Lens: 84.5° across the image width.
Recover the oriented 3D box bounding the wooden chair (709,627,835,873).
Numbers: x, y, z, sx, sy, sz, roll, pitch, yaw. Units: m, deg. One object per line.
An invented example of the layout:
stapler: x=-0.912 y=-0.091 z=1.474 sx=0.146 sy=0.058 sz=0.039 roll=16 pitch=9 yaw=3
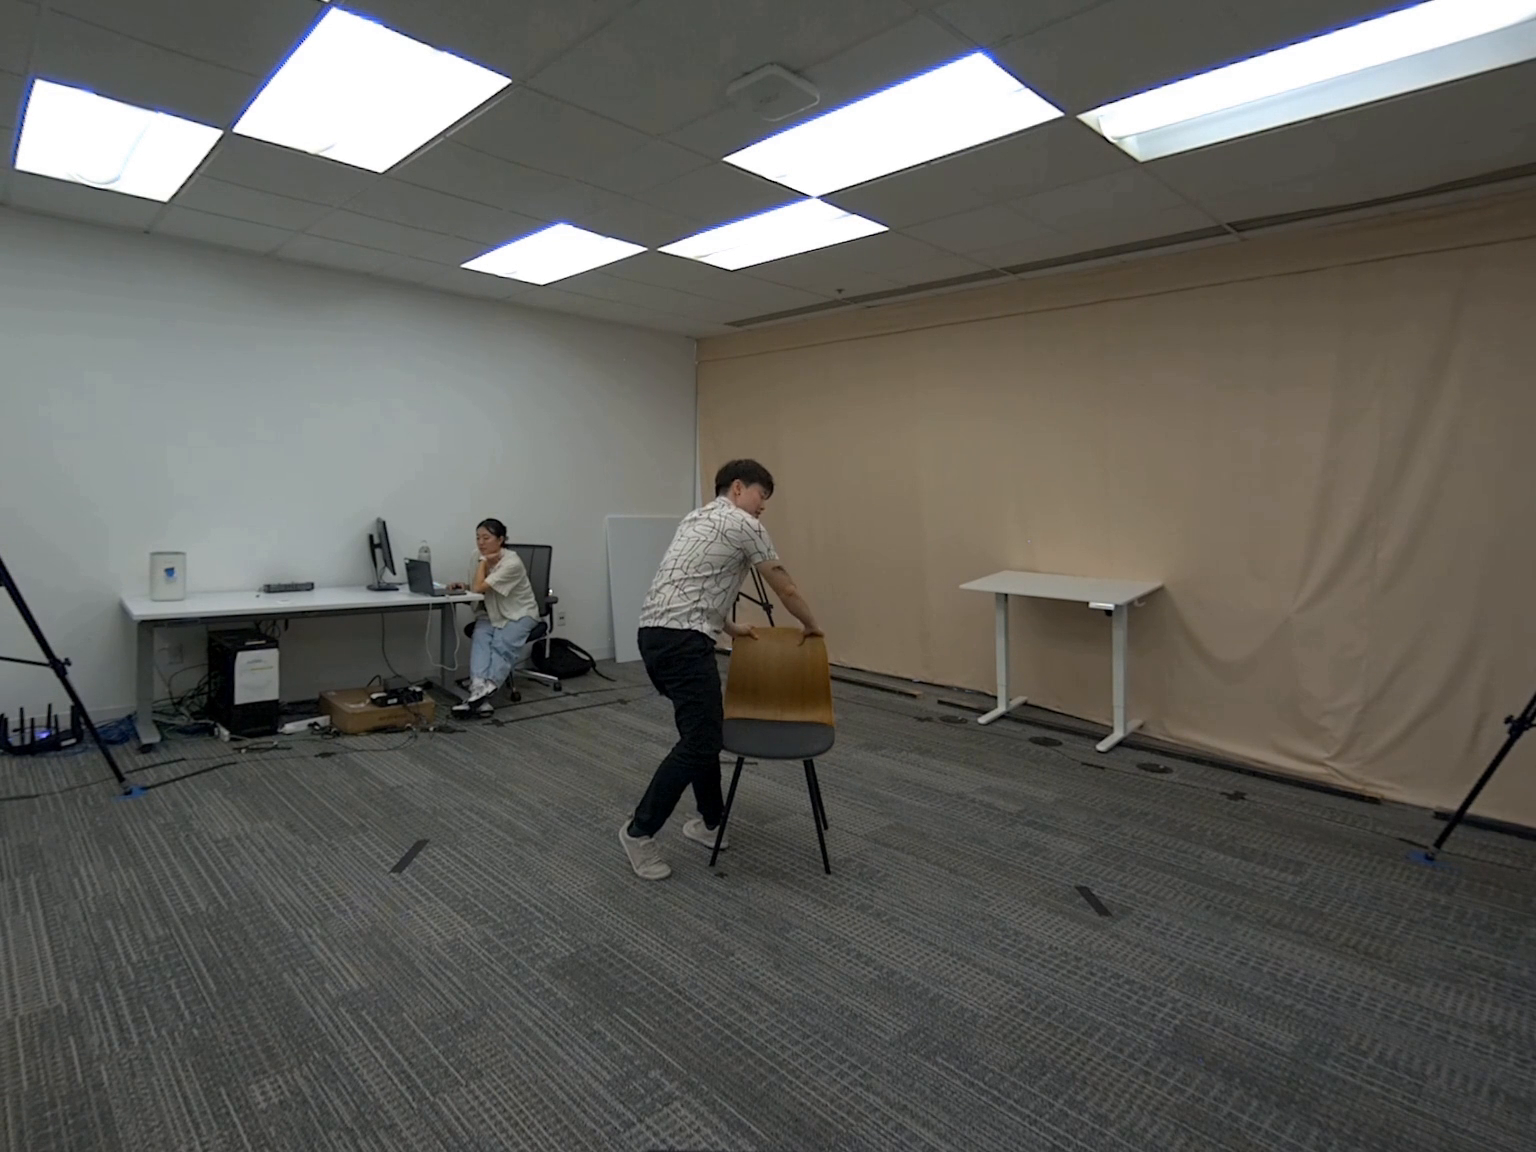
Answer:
wooden chair: x=0.025 y=0.656 z=3.339 sx=0.479 sy=0.878 sz=0.521 roll=2 pitch=-1 yaw=2
